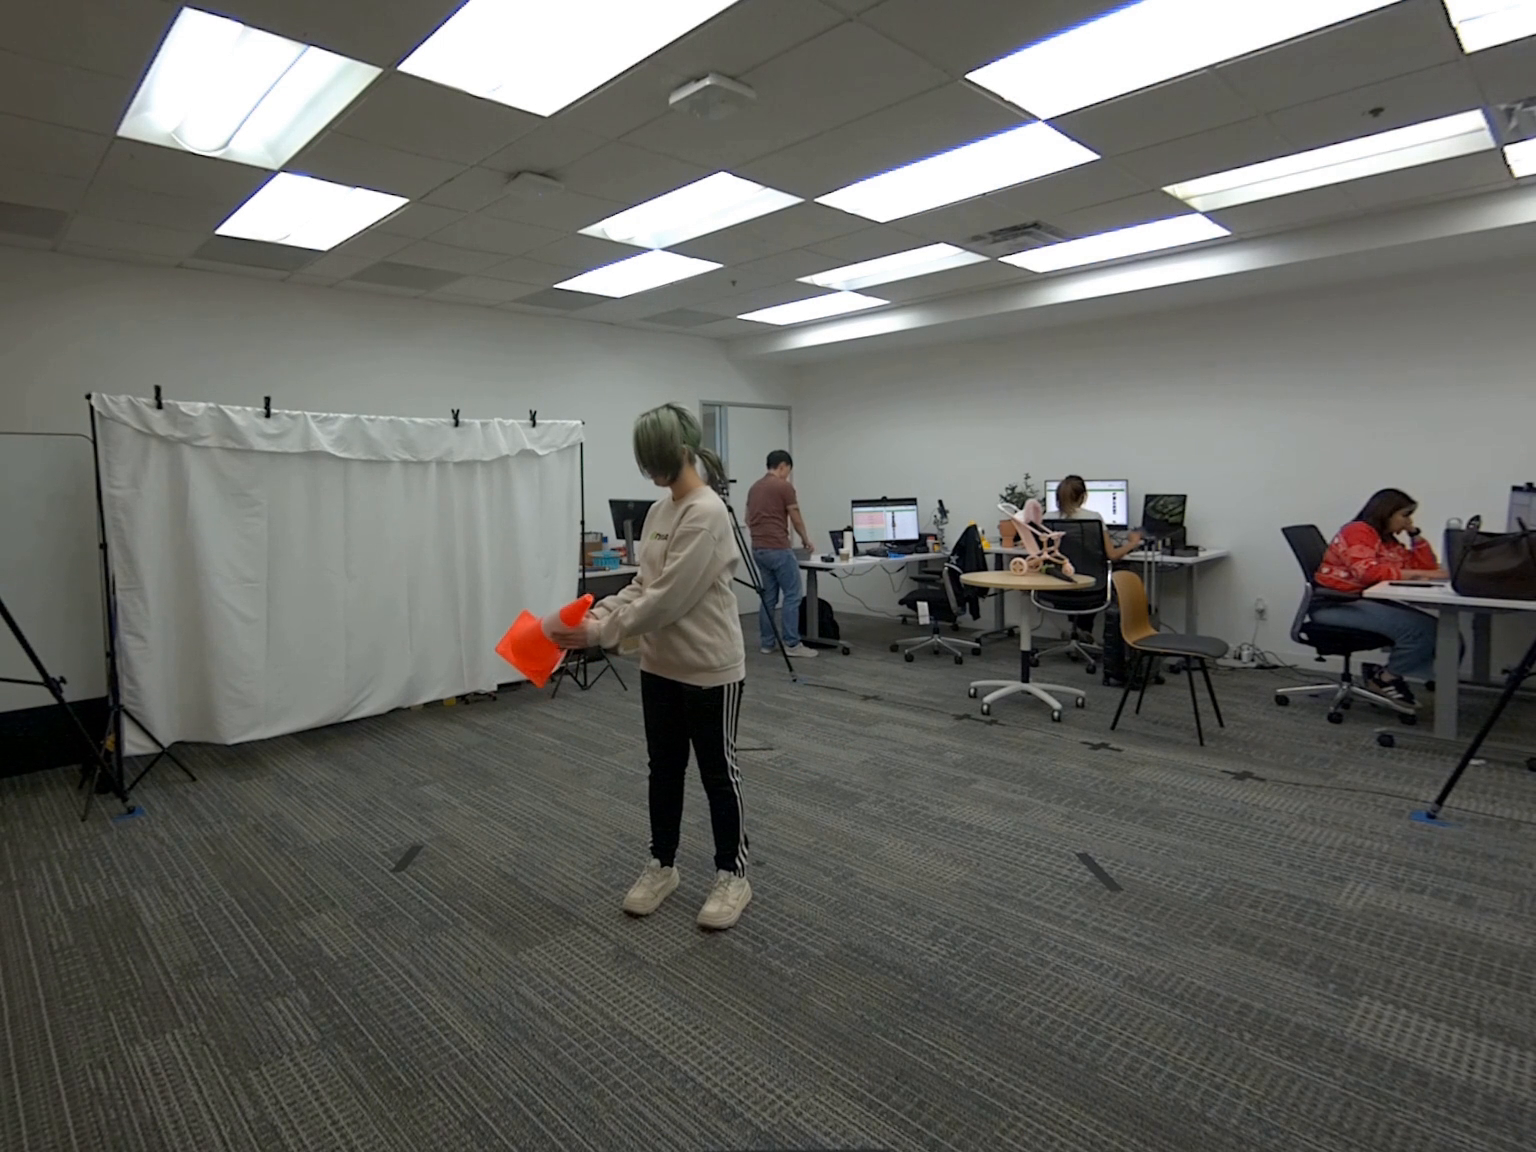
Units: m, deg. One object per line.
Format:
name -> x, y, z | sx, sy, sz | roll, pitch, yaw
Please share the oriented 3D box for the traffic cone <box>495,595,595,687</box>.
traffic cone -> -0.652, 0.154, 2.688 | 0.386, 0.200, 0.207 | -36, 17, 41
